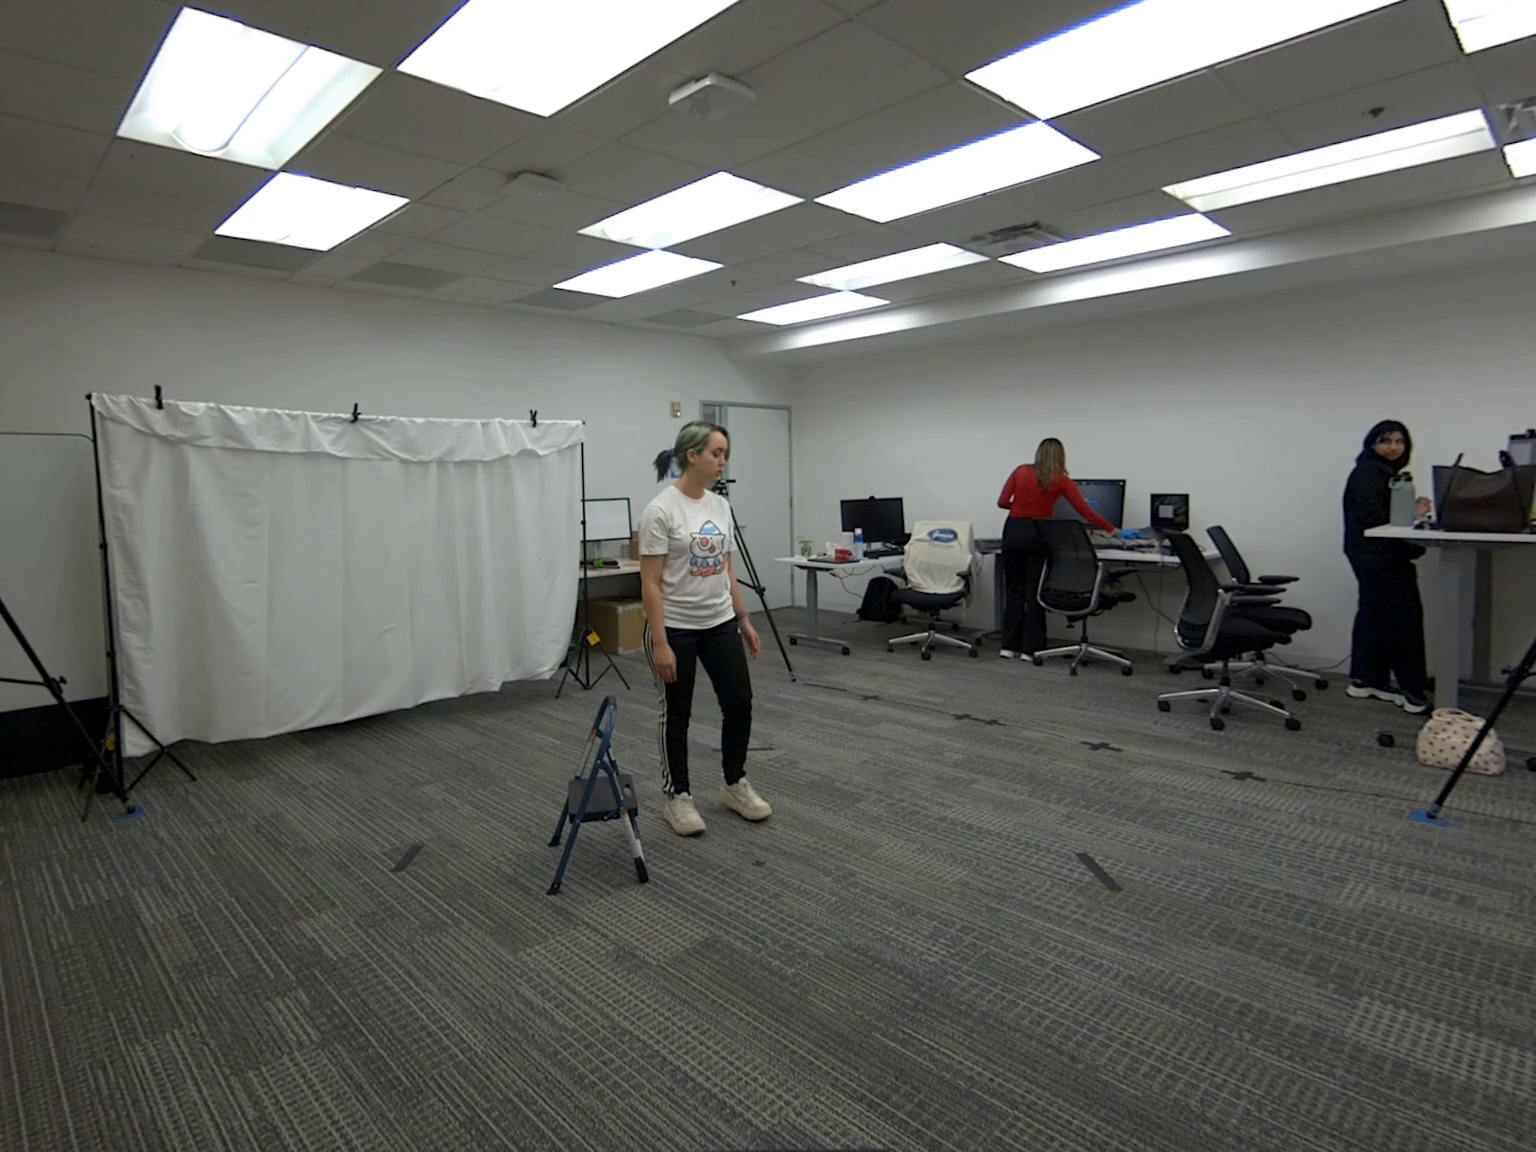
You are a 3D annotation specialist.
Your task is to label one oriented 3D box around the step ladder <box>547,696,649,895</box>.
[{"bbox_3d":[-0.637,0.757,3.123,0.345,0.604,0.437,-2,4,-13],"label":"step ladder"}]
